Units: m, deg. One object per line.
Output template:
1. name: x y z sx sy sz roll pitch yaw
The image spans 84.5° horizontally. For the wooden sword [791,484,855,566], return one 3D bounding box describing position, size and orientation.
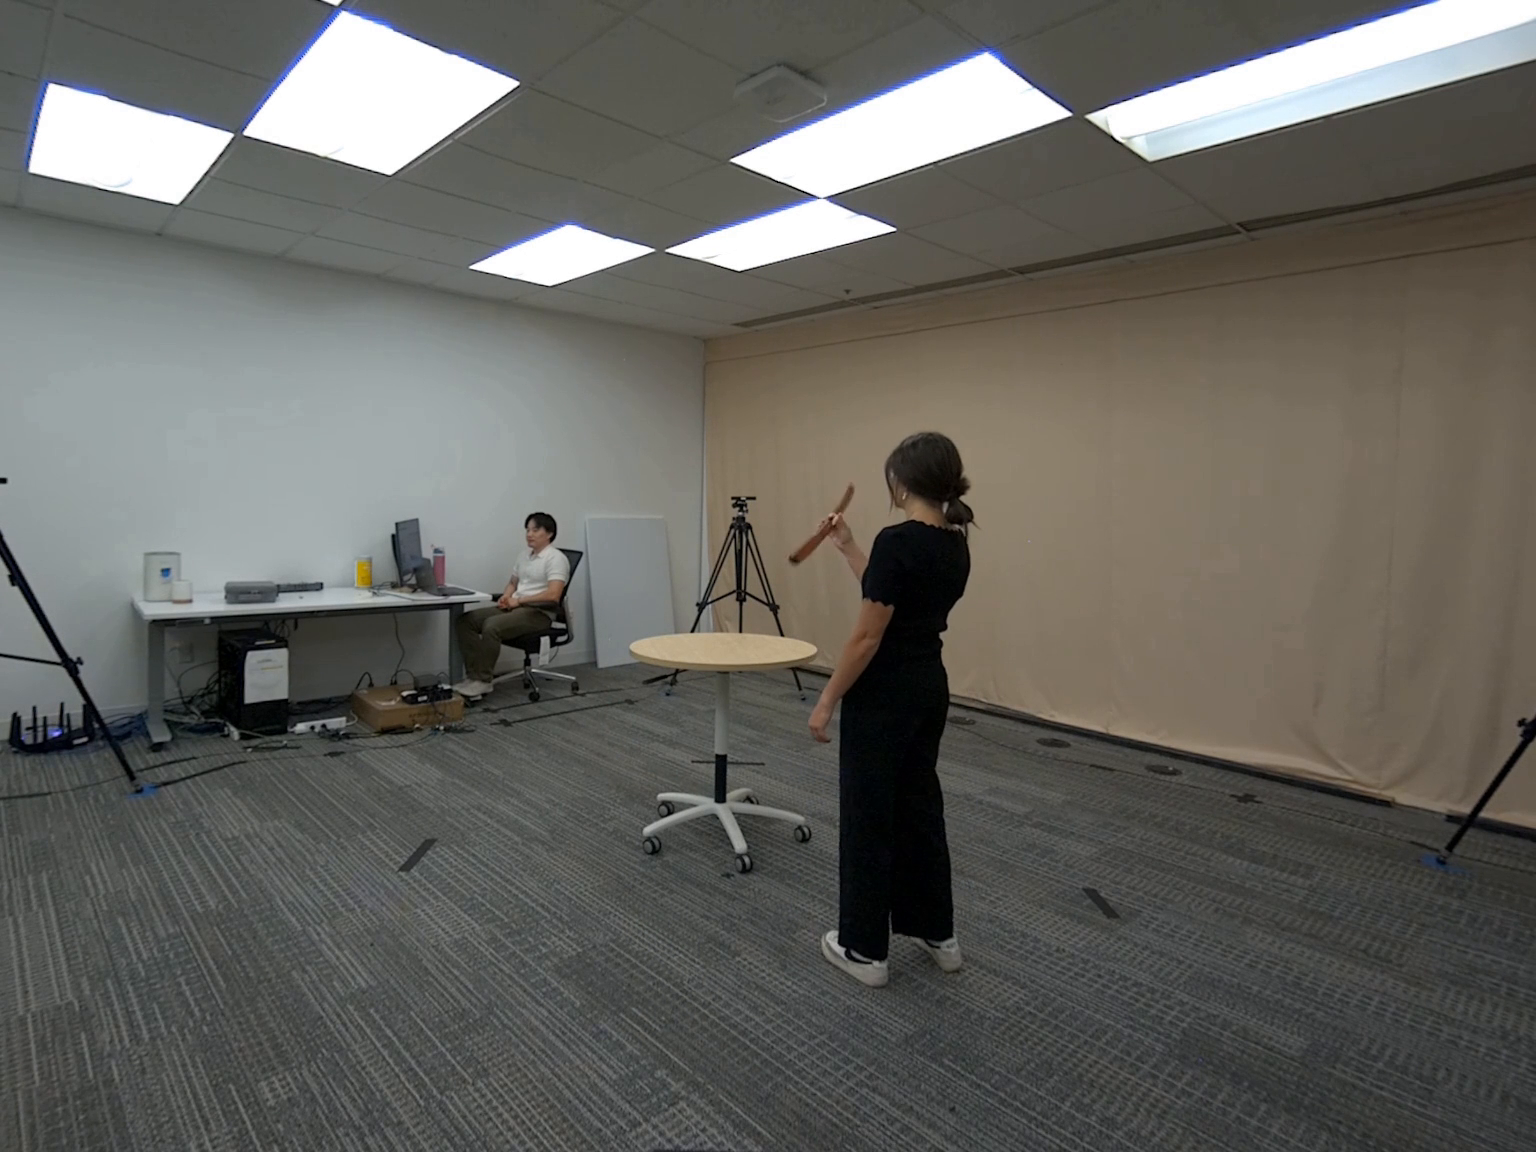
1. wooden sword: 0.202 -0.170 2.786 0.024 0.050 1.027 -11 16 15
